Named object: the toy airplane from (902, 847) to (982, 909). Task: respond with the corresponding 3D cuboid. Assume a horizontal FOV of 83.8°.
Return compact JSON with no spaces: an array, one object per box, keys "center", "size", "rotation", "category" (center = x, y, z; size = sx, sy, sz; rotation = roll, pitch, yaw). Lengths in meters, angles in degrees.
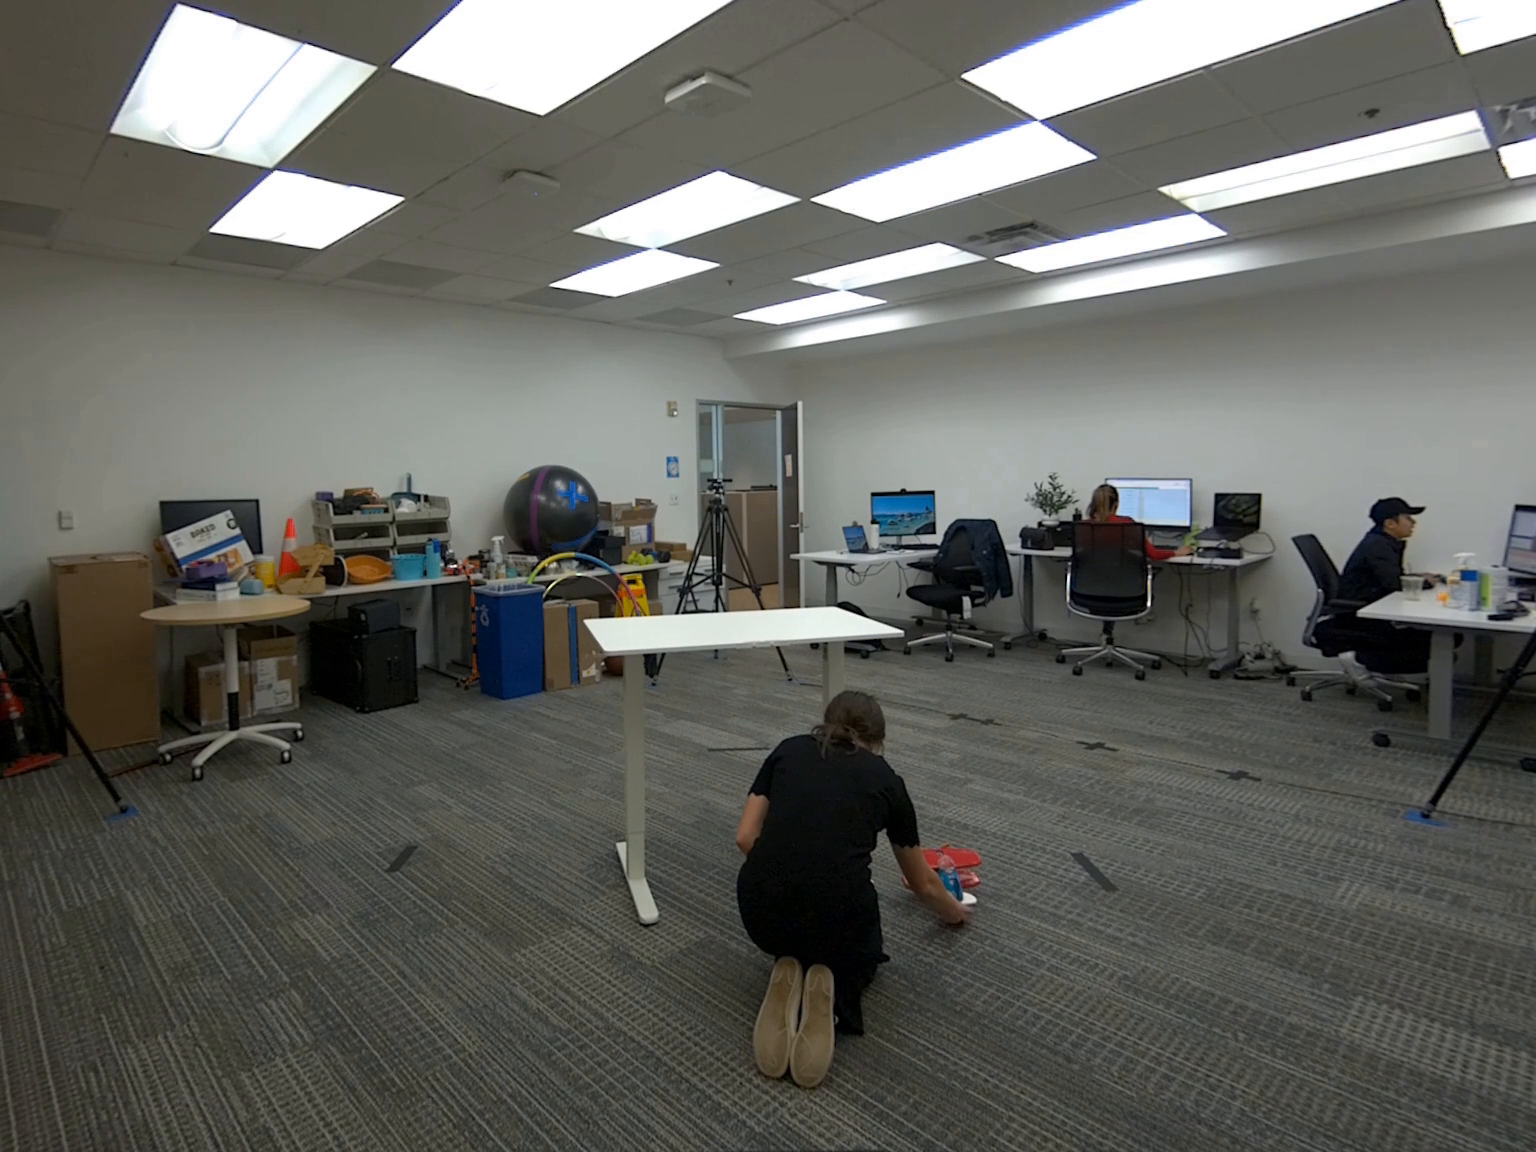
[{"center":[0.597,0.990,2.777],"size":[0.244,0.156,0.266],"rotation":[-2,1,-35],"category":"toy airplane"}]
